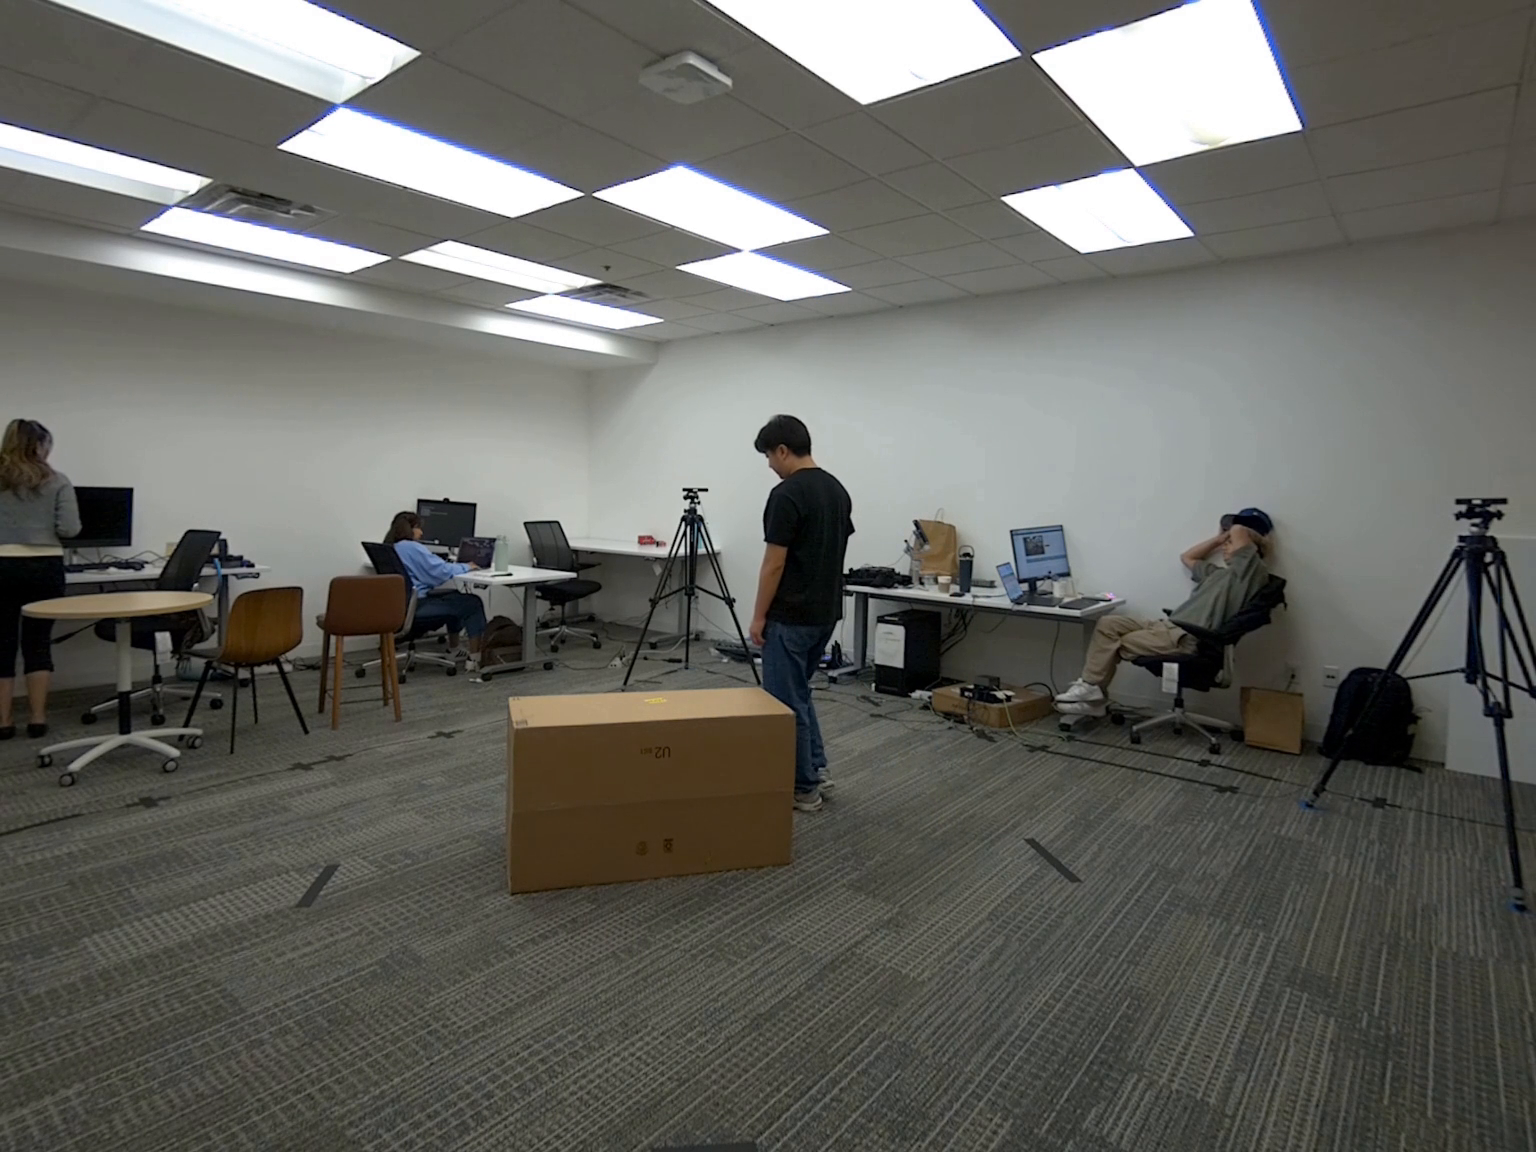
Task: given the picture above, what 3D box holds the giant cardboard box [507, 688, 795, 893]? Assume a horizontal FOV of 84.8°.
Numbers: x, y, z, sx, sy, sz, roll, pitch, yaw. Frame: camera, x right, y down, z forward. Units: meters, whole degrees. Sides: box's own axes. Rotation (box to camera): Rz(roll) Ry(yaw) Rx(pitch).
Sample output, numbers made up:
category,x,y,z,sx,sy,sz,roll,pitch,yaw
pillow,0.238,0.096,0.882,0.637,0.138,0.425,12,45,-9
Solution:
category,x,y,z,sx,sy,sz,roll,pitch,yaw
giant cardboard box,-0.463,0.766,3.211,1.008,0.583,0.456,0,3,-18
